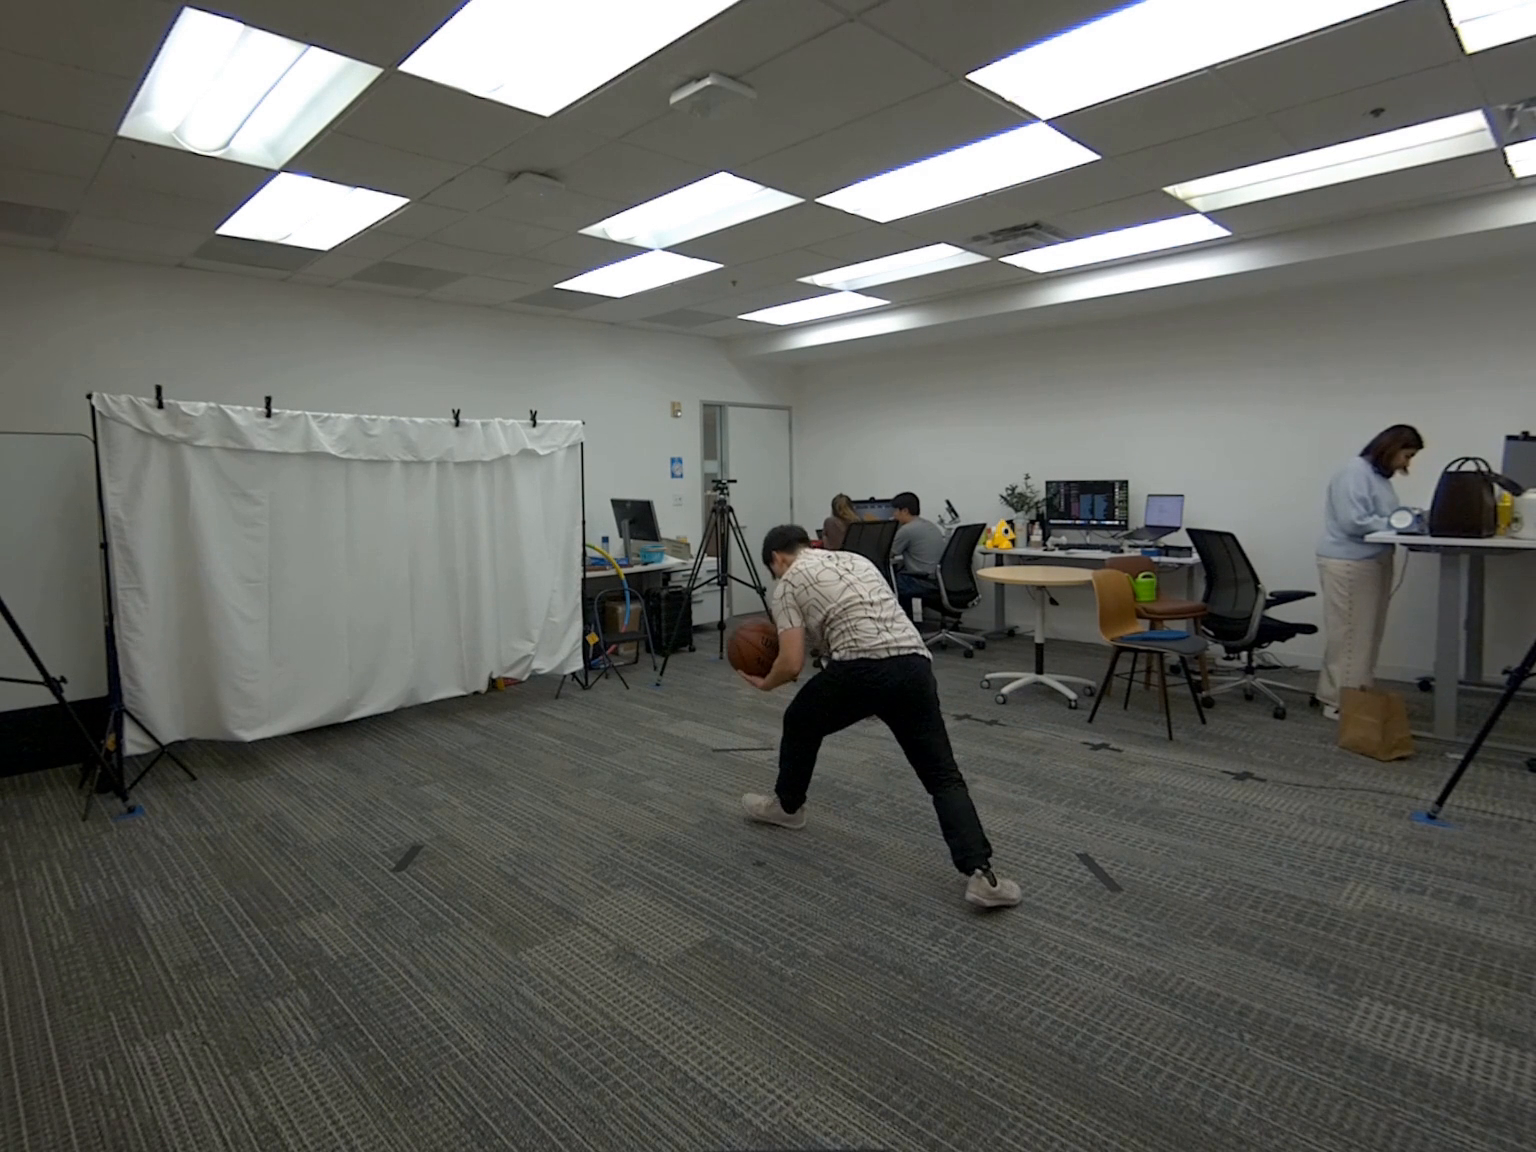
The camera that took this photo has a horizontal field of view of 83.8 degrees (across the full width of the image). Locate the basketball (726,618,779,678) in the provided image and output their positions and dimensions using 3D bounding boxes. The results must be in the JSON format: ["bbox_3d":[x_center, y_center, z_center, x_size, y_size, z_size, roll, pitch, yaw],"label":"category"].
[{"bbox_3d":[-0.046,0.289,3.387,0.236,0.235,0.237,-1,5,-2],"label":"basketball"}]
